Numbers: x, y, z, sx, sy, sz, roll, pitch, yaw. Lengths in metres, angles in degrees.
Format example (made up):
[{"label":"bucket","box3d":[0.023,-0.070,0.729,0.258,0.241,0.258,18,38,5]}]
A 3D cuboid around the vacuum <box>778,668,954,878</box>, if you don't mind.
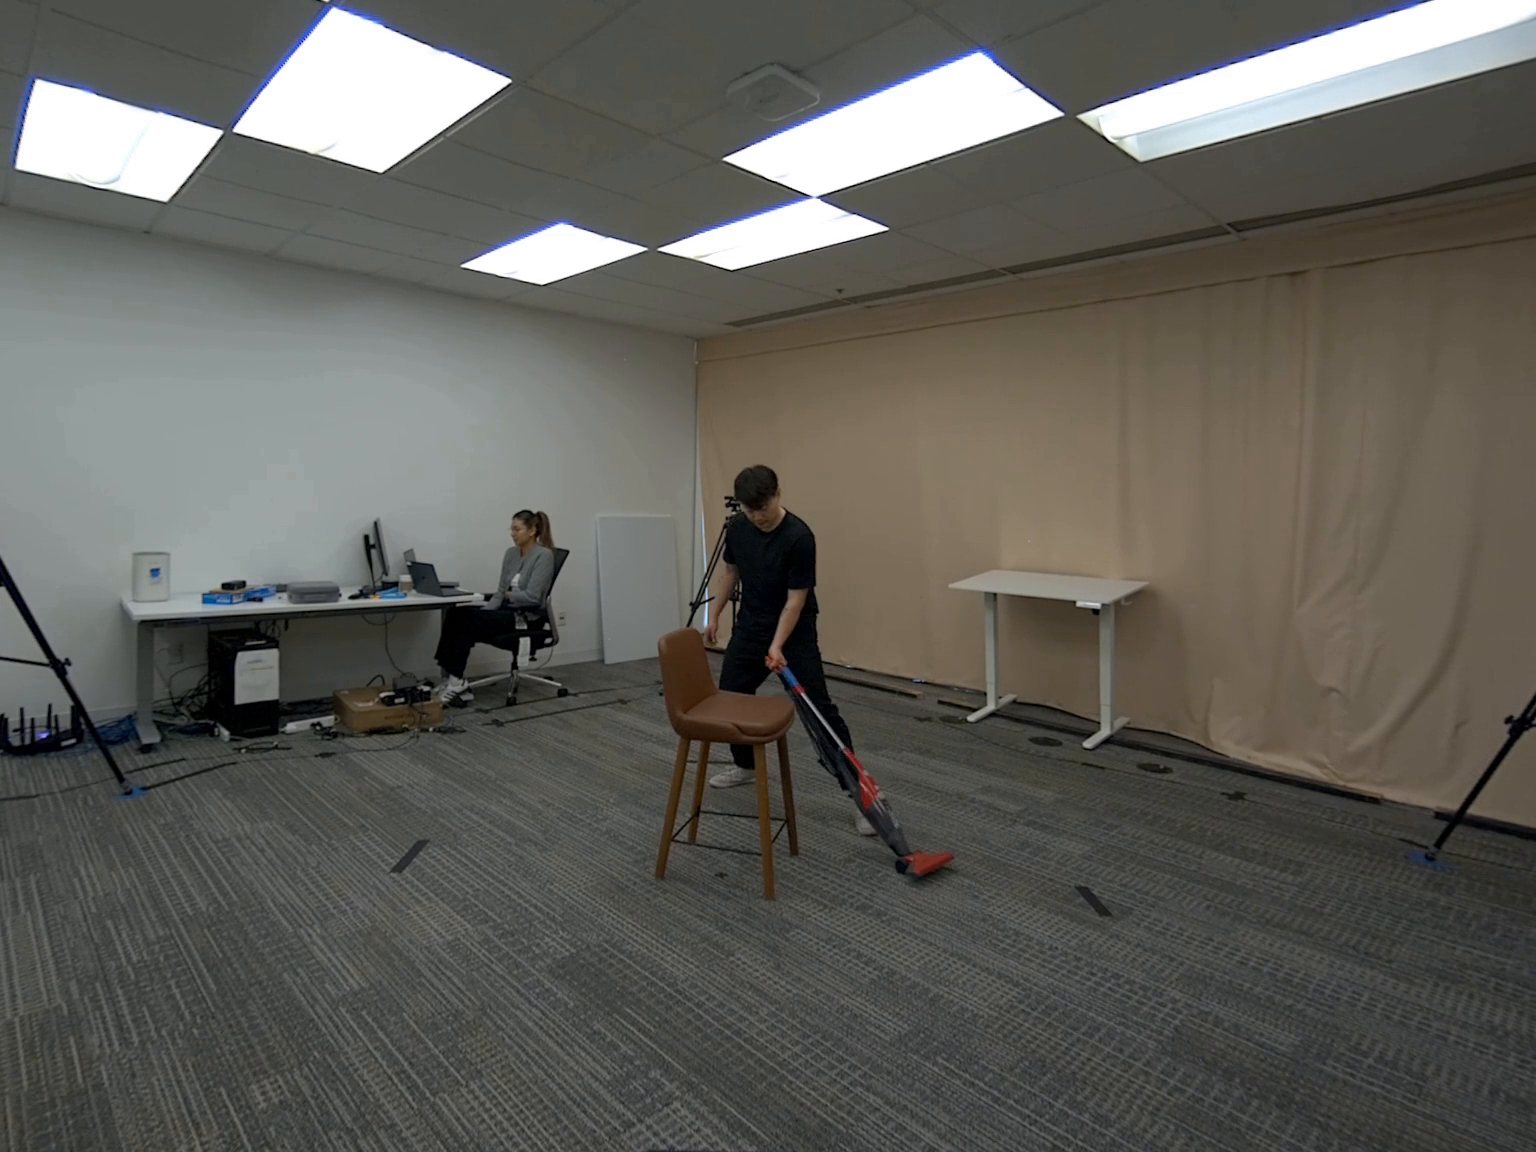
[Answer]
[{"label":"vacuum","box3d":[0.291,0.739,3.446,0.246,0.143,1.080,7,36,-48]}]
